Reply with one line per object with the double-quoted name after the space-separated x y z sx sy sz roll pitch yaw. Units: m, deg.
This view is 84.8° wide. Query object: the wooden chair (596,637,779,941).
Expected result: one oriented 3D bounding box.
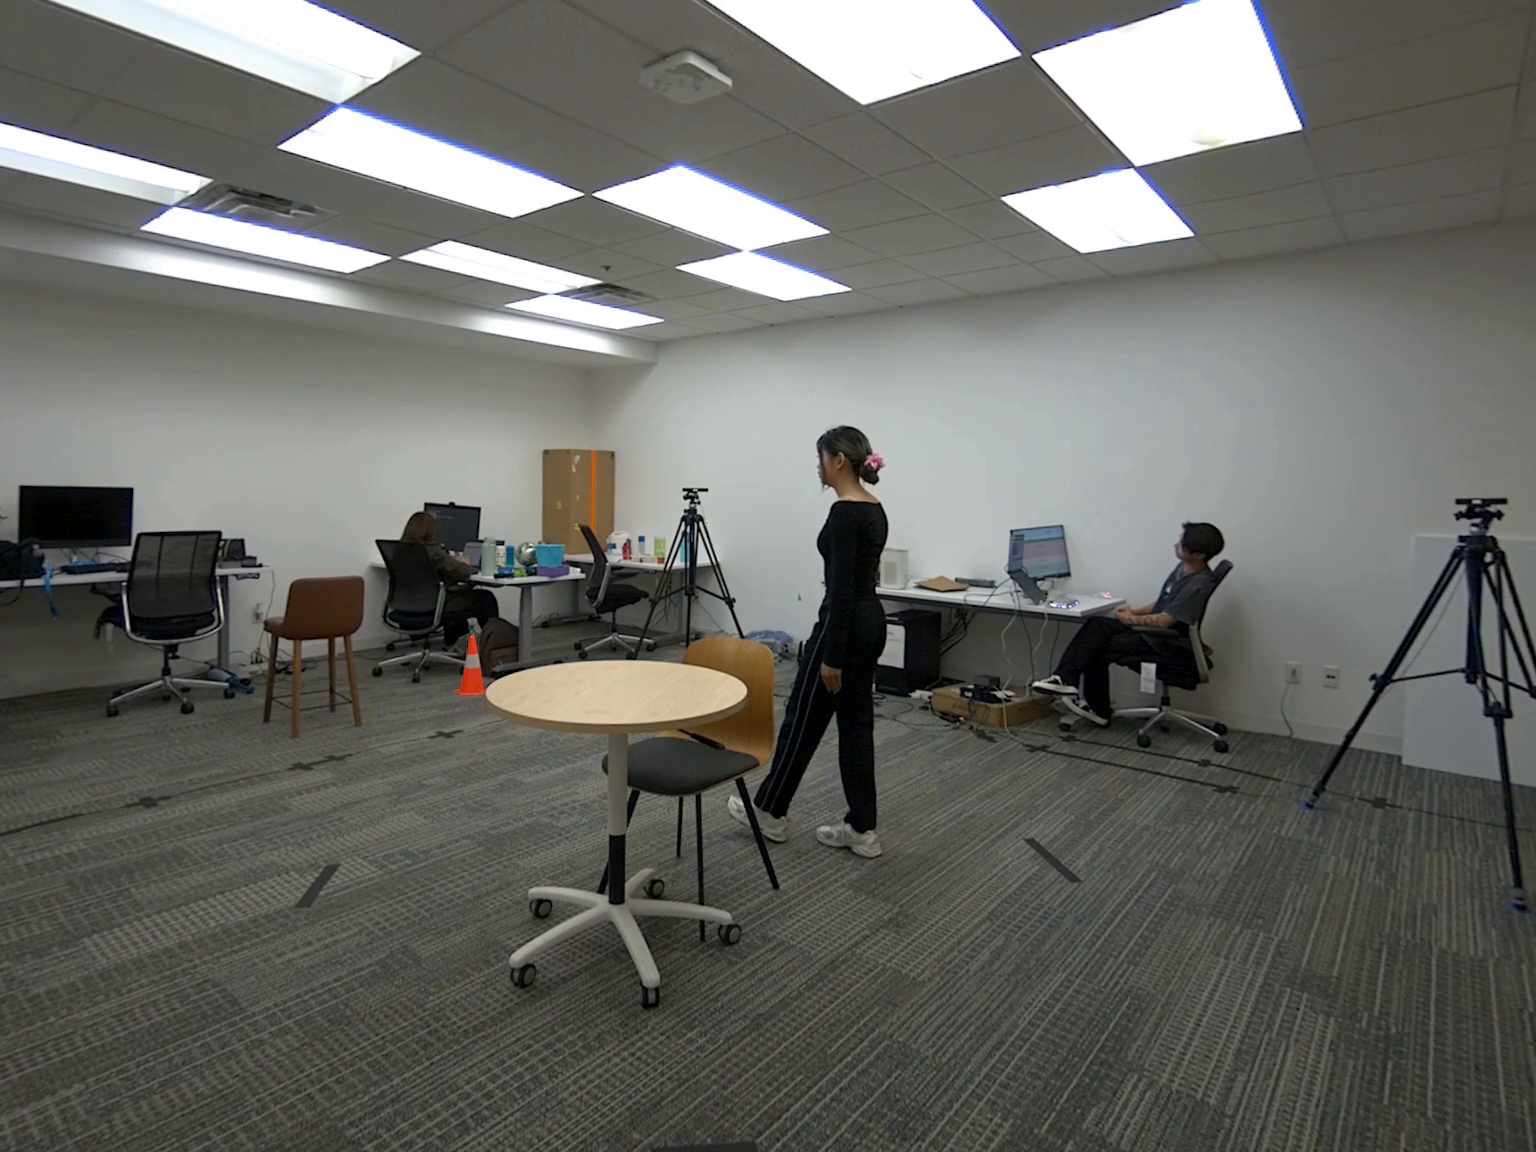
-0.272 0.663 2.878 0.493 0.878 0.506 4 0 34 "wooden chair"
